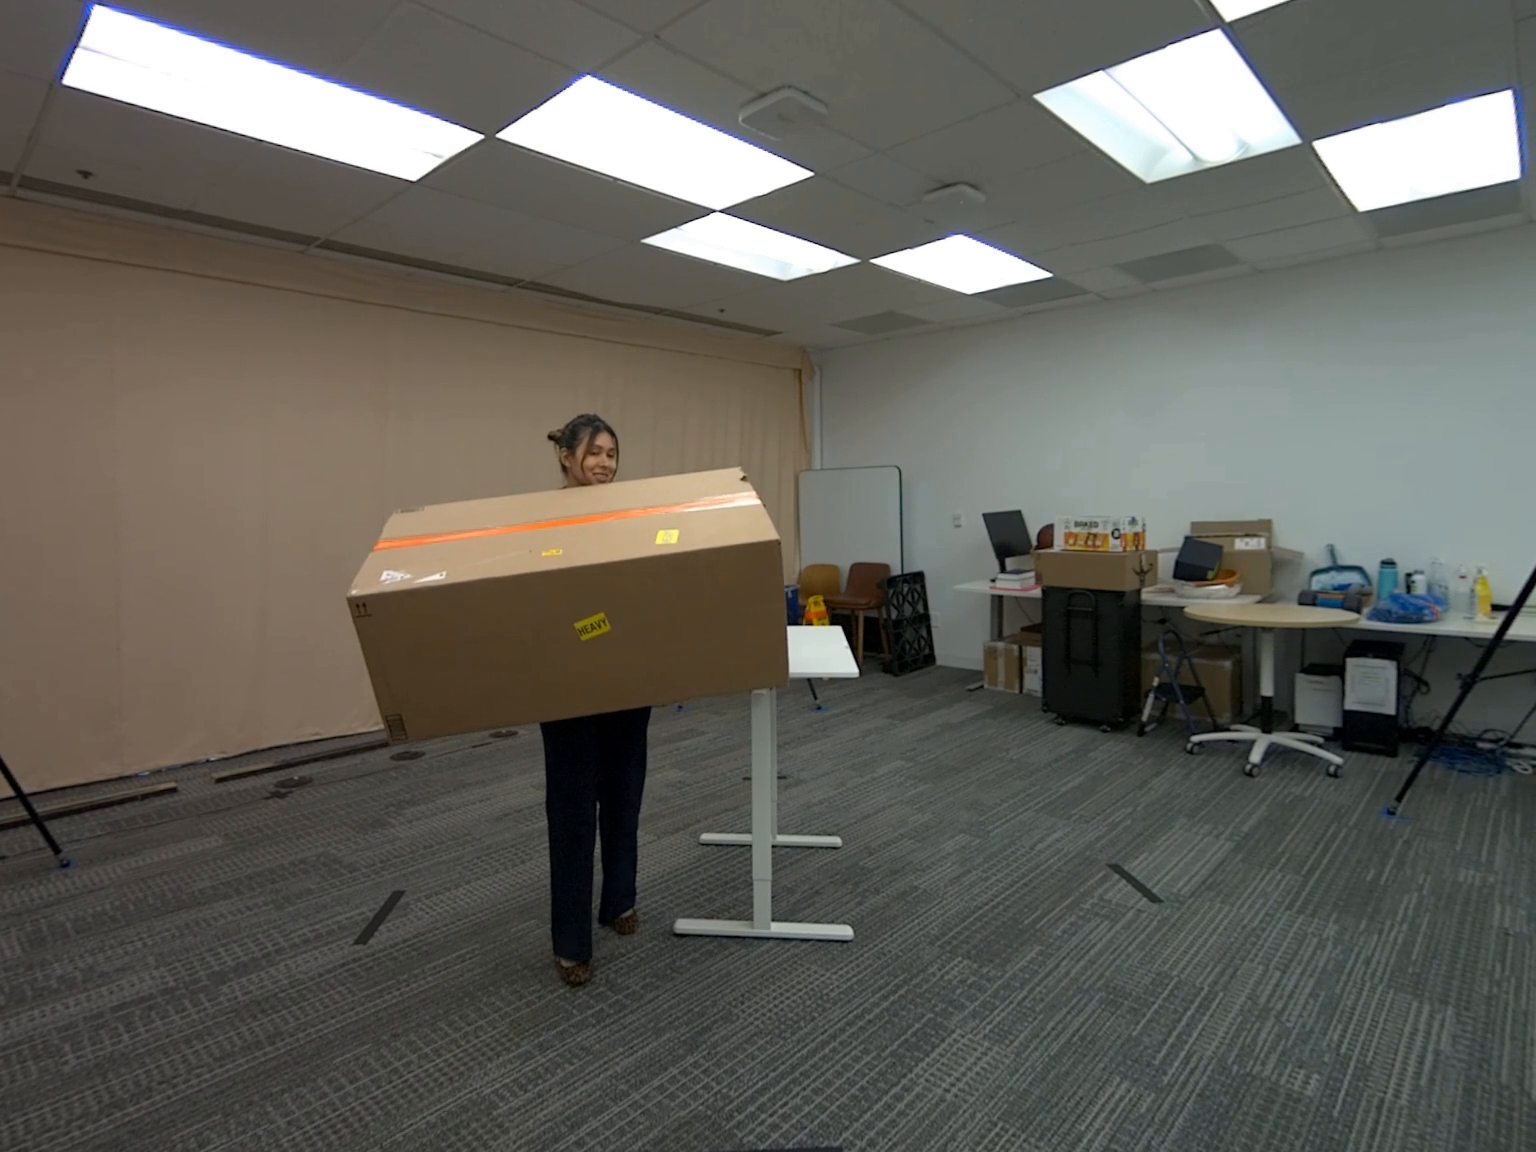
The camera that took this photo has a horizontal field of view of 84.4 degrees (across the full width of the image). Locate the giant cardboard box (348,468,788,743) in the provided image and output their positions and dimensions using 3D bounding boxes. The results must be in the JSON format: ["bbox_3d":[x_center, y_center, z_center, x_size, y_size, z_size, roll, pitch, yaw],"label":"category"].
[{"bbox_3d":[-0.510,0.033,2.302,1.019,0.419,0.590,-6,25,-6],"label":"giant cardboard box"}]
